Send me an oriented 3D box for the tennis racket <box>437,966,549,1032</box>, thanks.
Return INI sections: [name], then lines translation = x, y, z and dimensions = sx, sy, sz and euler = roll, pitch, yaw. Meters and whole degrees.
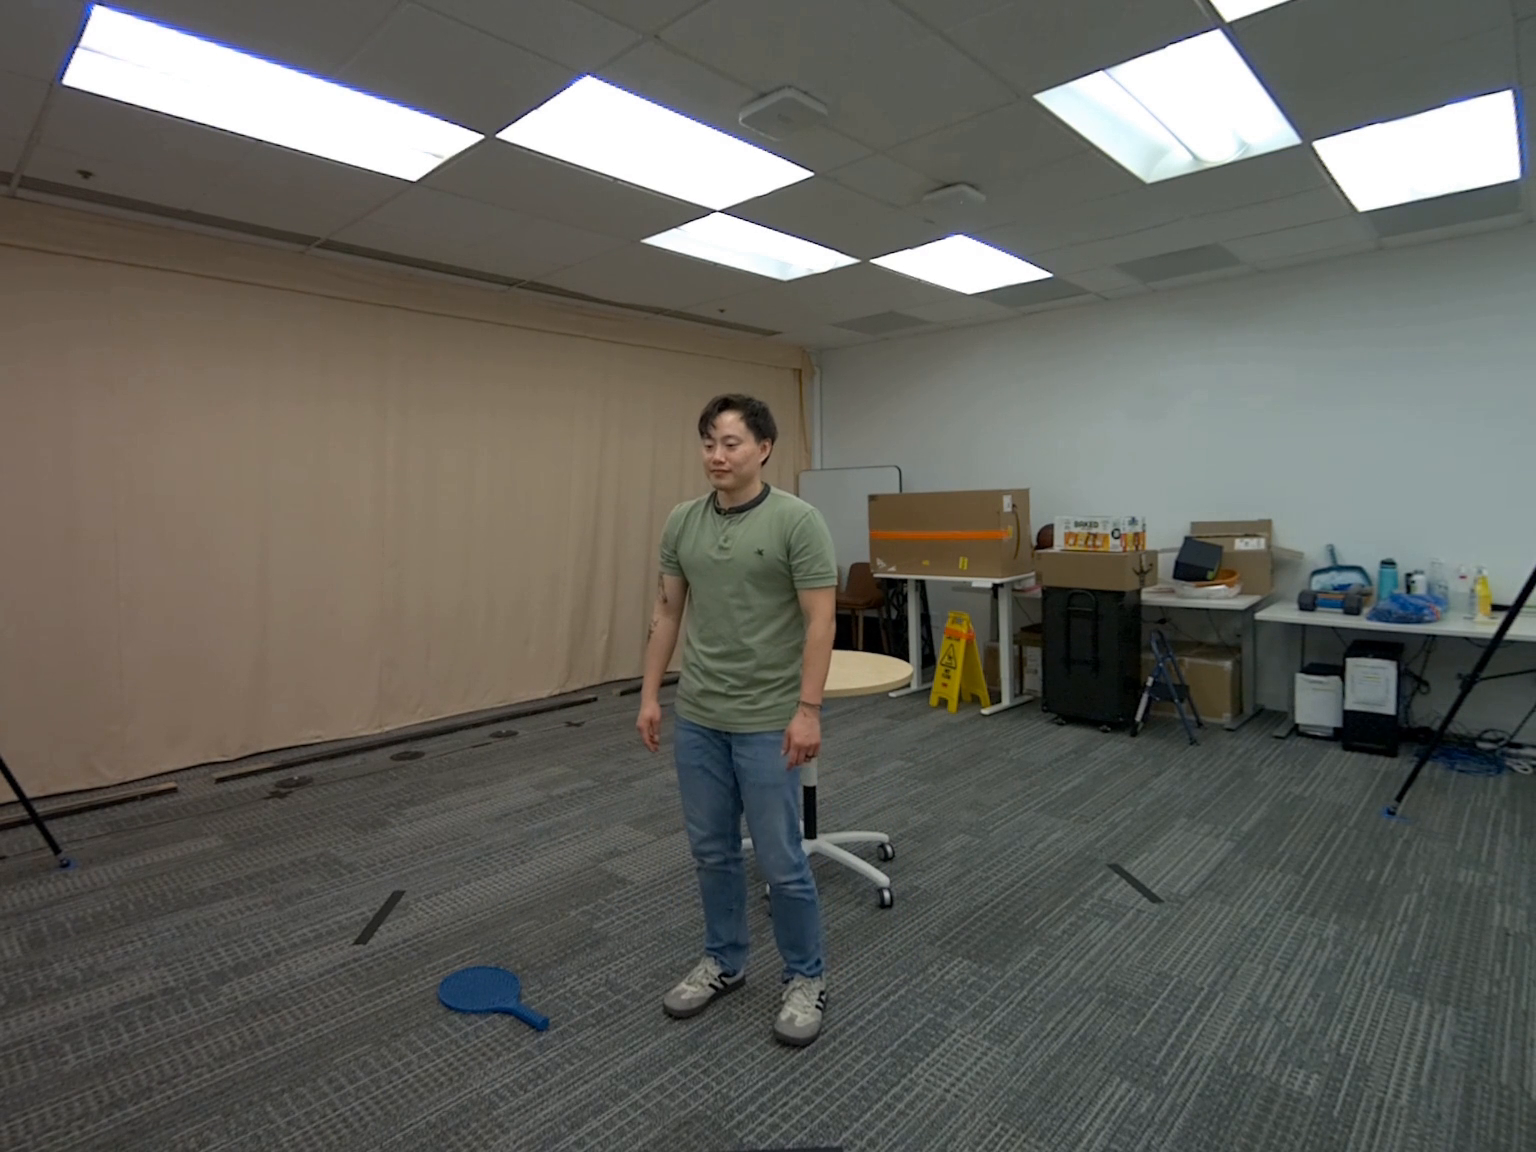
[tennis racket]
translation = -0.771, 1.194, 2.383
dimensions = 0.447, 0.032, 0.207
euler = 0, 3, 39
